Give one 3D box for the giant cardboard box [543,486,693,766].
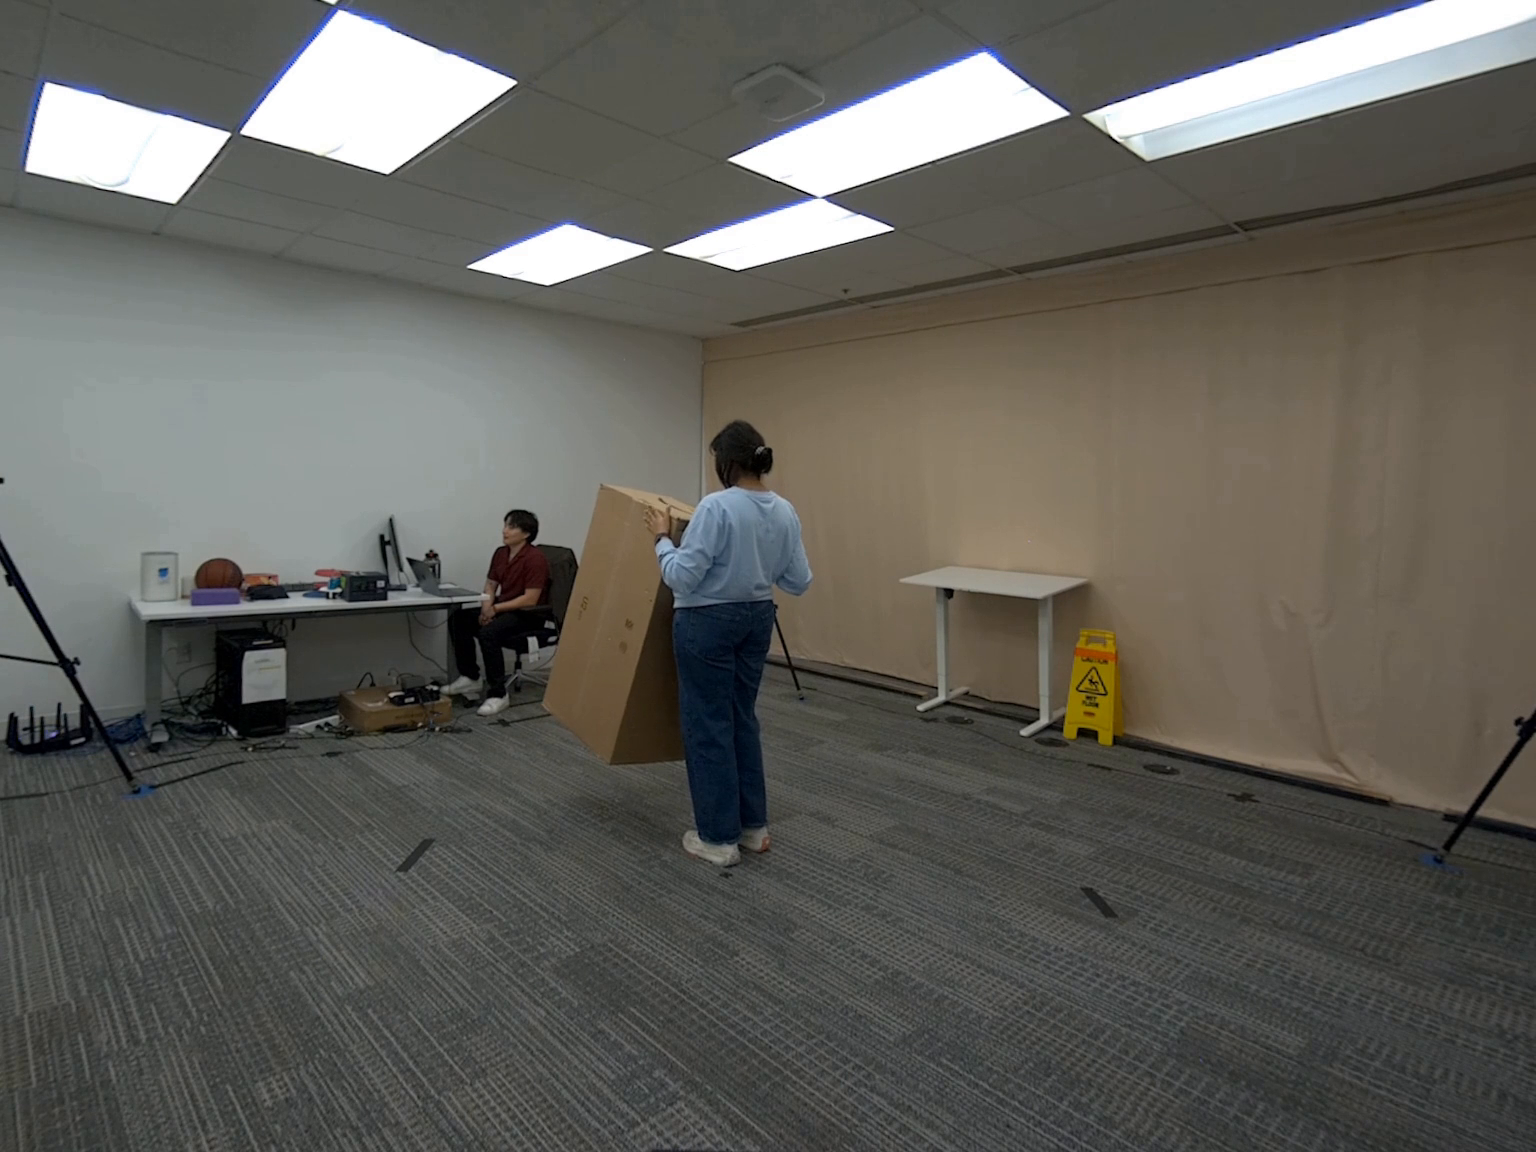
[{"bbox_3d":[-0.526,0.196,3.600,0.435,1.023,0.602,10,10,-42],"label":"giant cardboard box"}]
